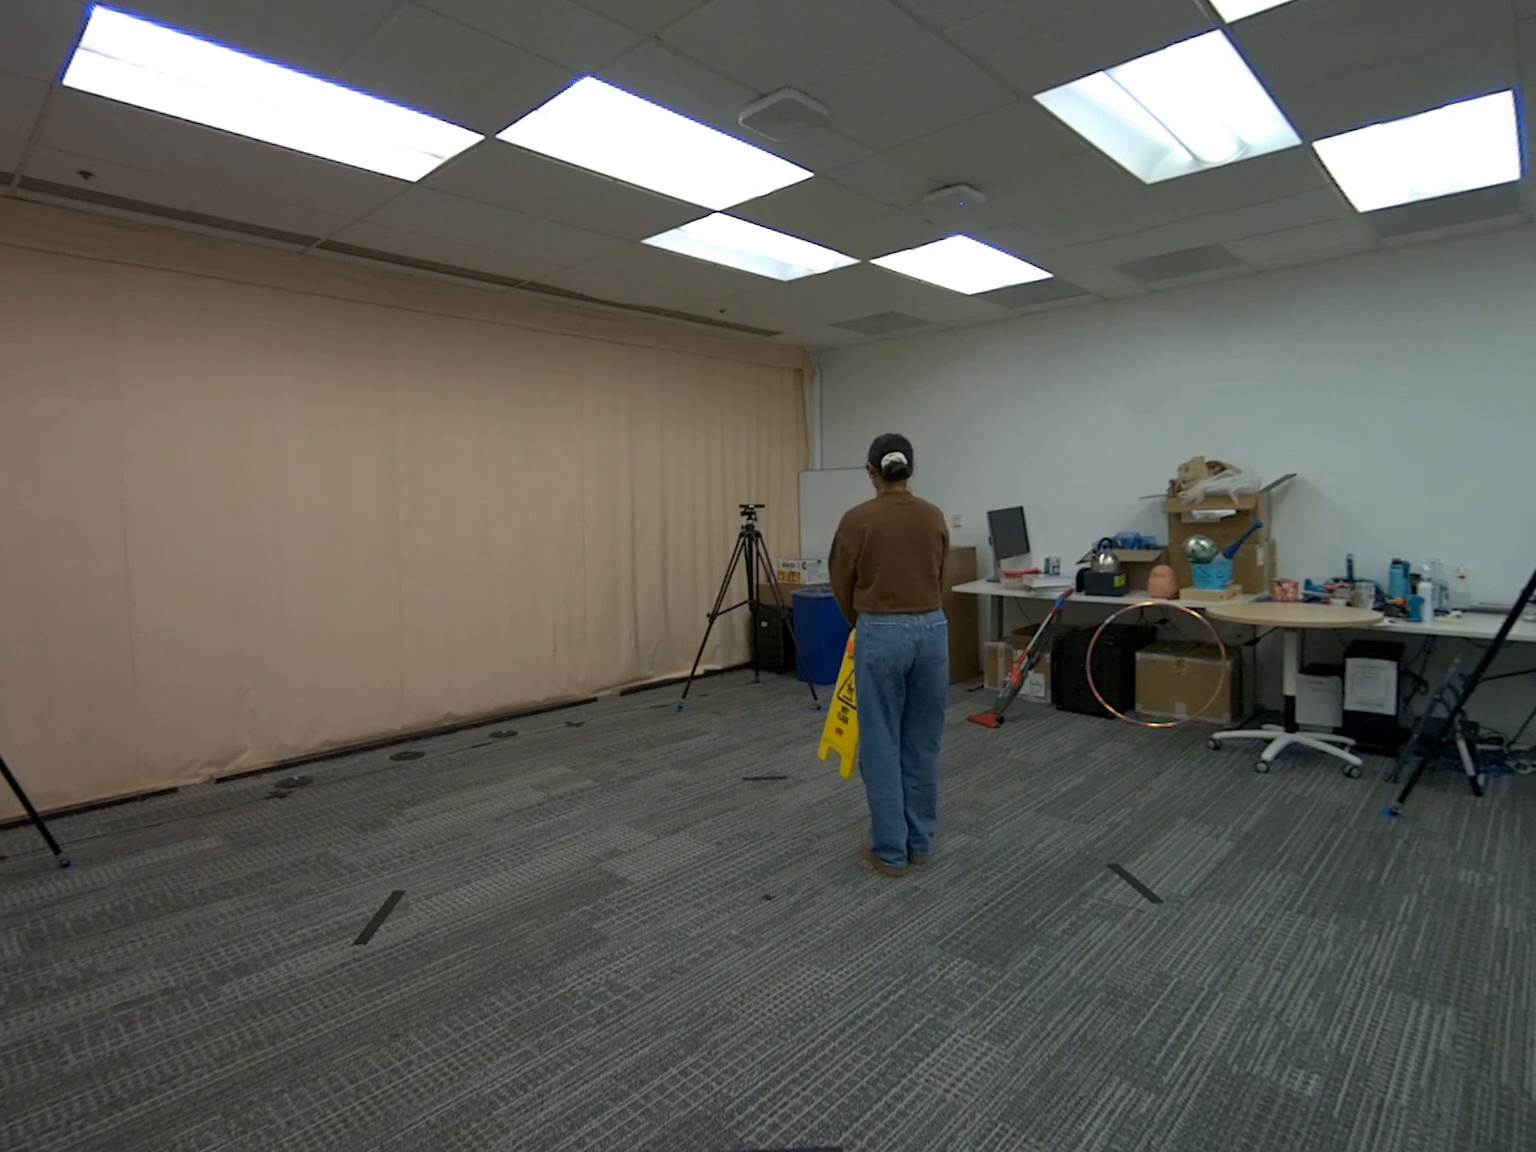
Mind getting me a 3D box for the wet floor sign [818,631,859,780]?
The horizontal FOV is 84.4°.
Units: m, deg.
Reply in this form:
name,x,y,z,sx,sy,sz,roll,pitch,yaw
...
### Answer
name,x,y,z,sx,sy,sz,roll,pitch,yaw
wet floor sign,0.422,0.500,3.599,0.283,0.643,0.290,0,9,-23
